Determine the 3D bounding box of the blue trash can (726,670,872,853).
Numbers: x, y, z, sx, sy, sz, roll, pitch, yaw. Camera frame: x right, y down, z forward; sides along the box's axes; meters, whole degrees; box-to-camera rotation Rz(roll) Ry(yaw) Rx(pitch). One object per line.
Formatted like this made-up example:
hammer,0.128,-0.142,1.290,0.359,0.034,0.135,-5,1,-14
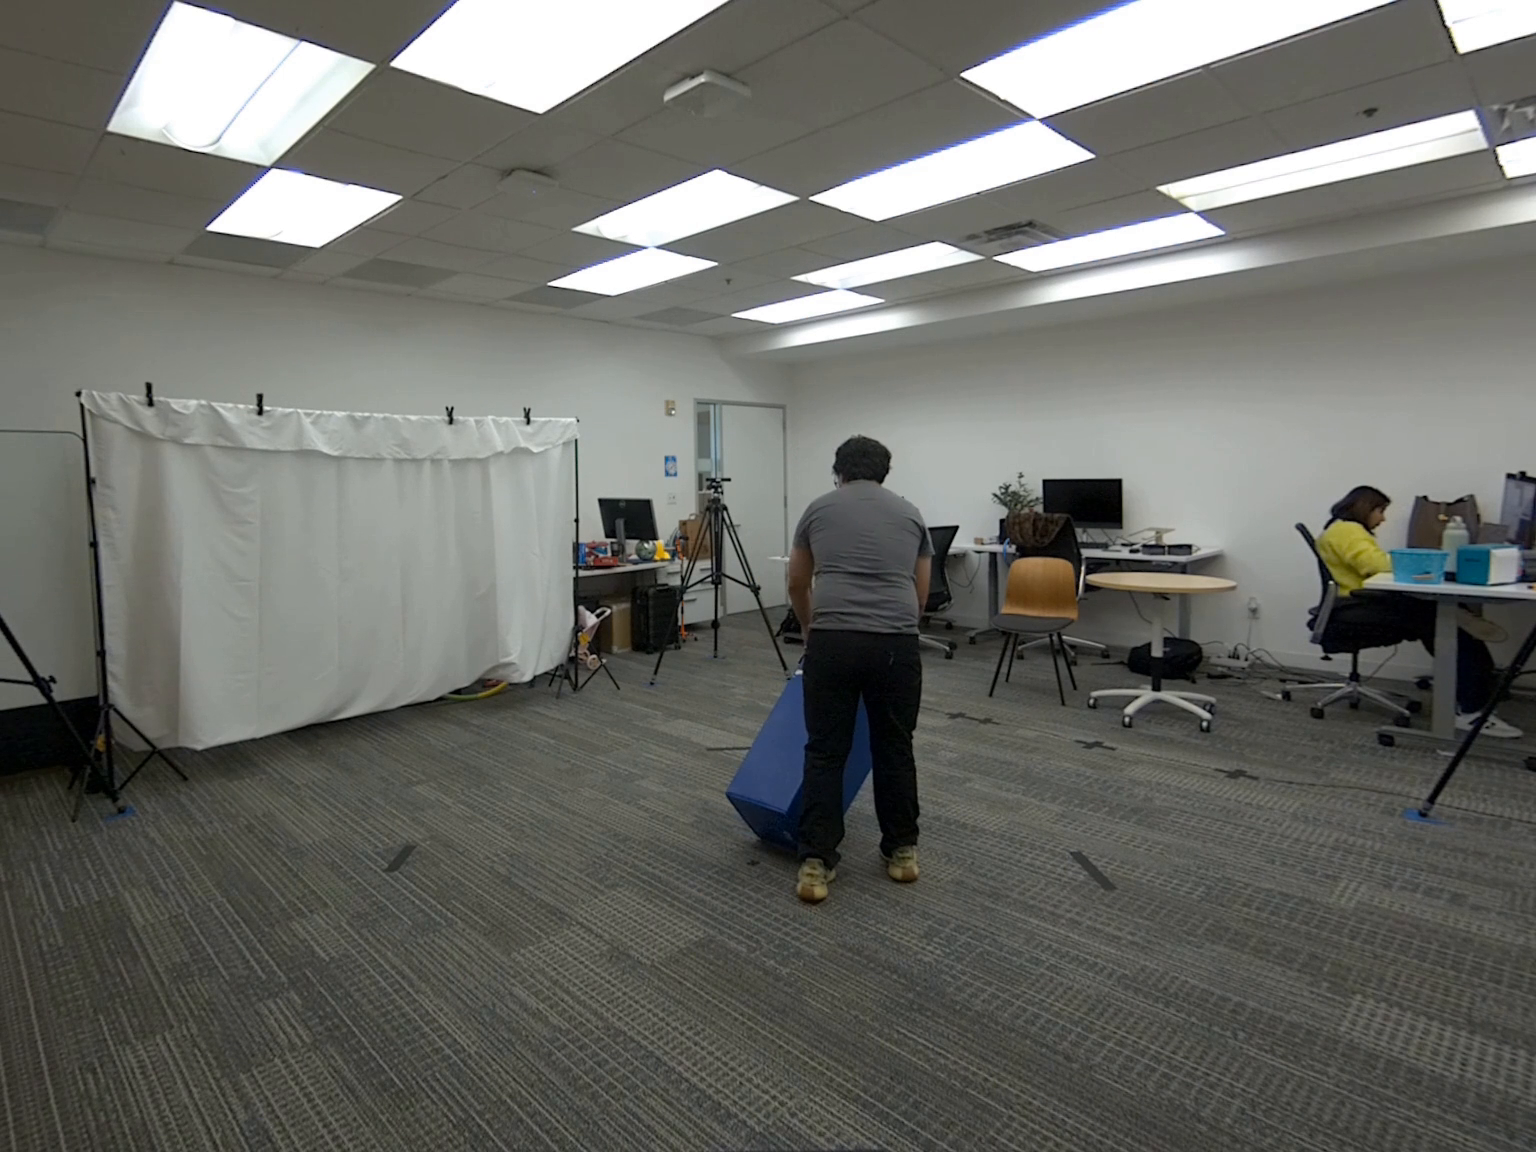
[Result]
blue trash can,0.193,0.669,3.320,0.390,0.361,0.716,4,46,41
